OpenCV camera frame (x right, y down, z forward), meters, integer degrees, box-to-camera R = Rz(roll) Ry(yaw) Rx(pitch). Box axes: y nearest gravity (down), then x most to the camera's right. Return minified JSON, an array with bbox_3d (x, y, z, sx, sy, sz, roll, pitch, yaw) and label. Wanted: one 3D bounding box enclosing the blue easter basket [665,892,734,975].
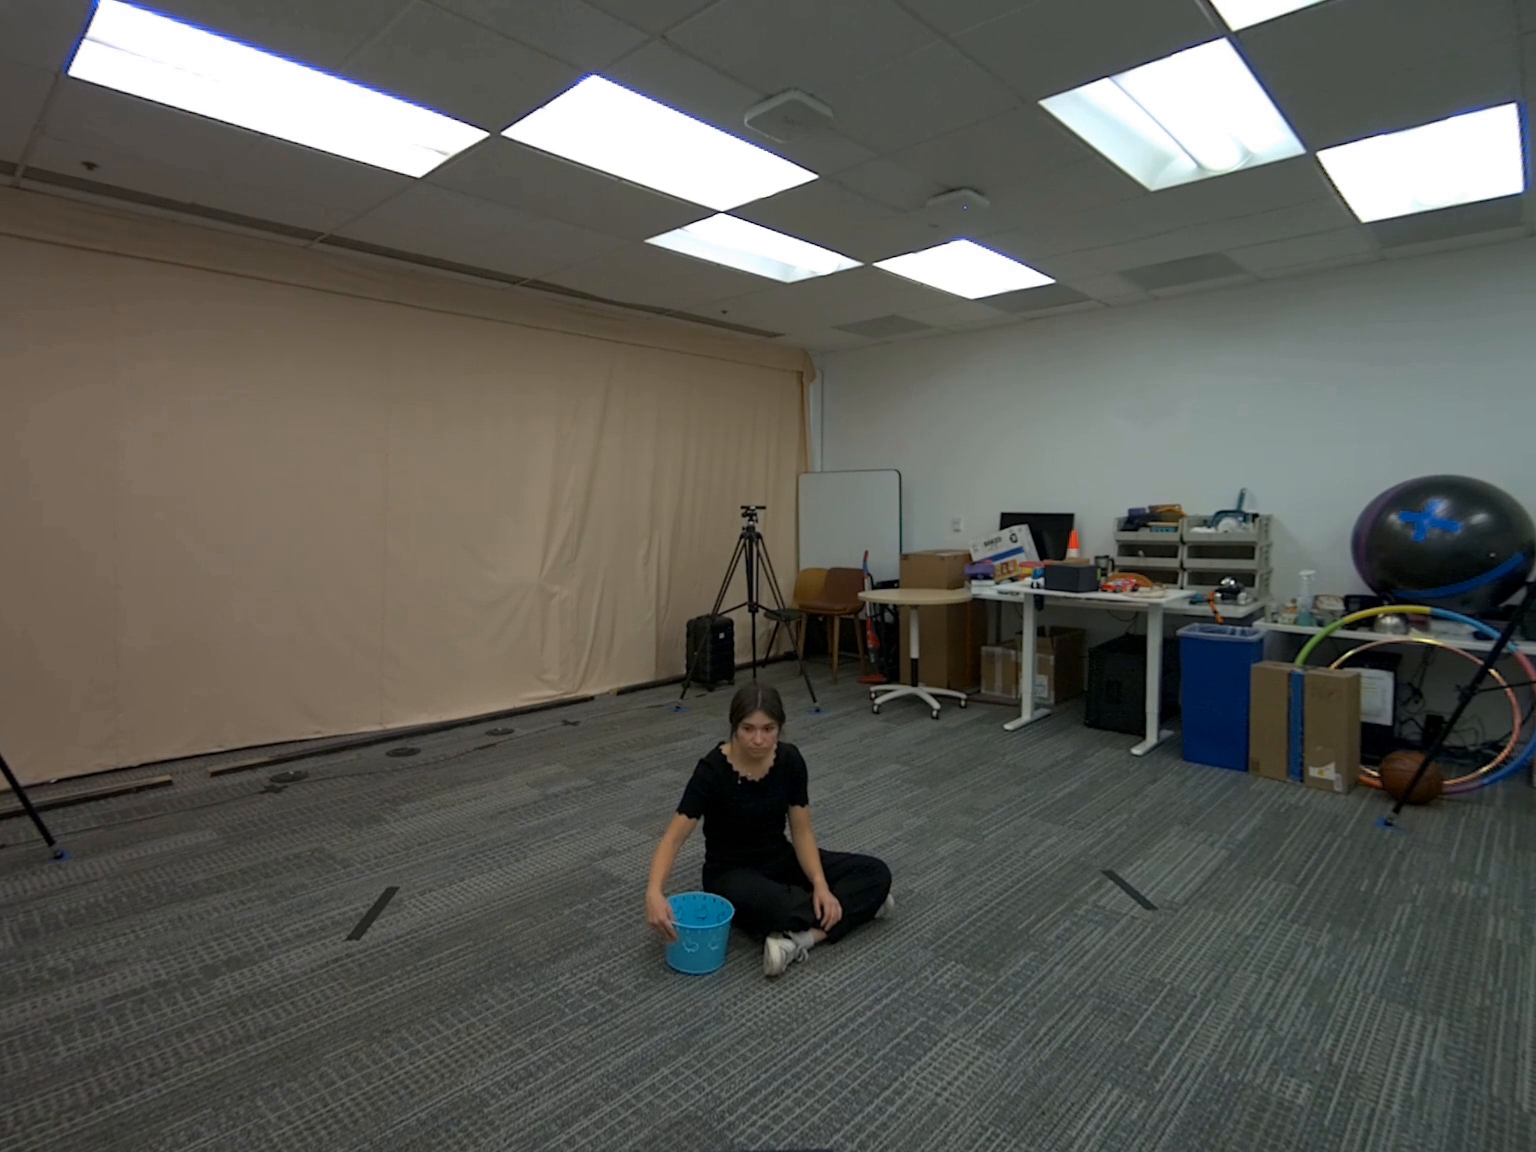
[{"bbox_3d":[-0.224,1.081,2.581,0.243,0.156,0.244,1,2,-2],"label":"blue easter basket"}]
